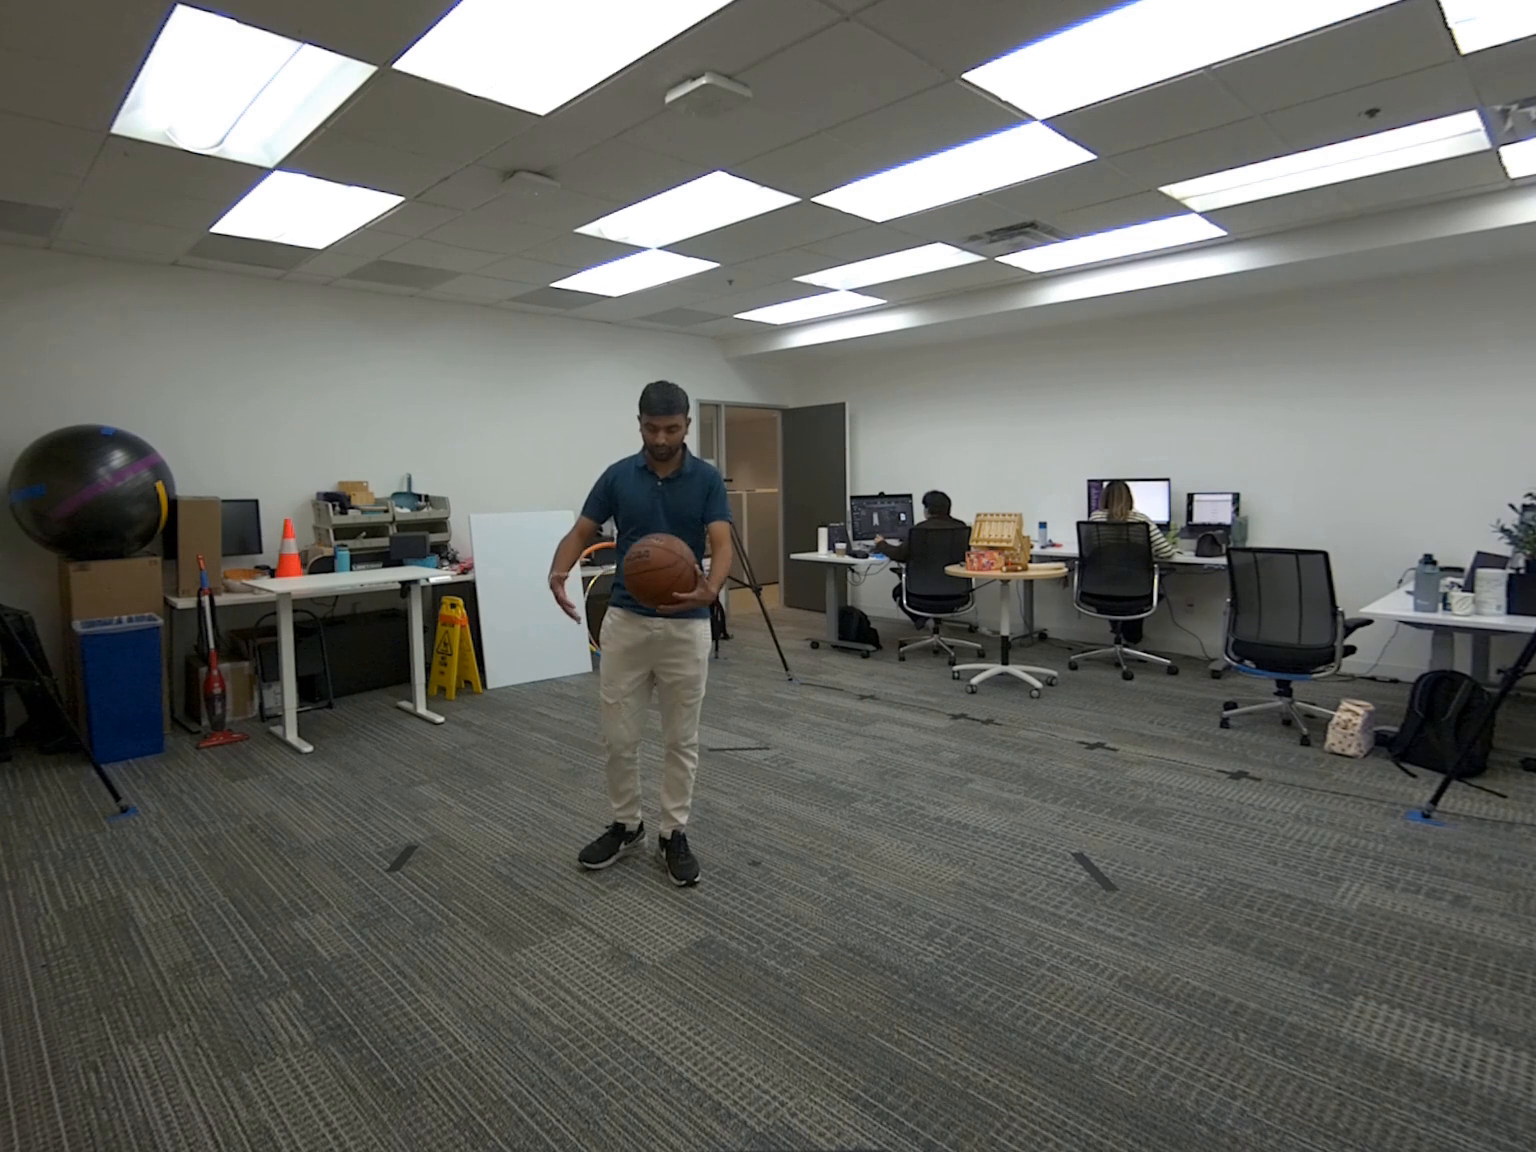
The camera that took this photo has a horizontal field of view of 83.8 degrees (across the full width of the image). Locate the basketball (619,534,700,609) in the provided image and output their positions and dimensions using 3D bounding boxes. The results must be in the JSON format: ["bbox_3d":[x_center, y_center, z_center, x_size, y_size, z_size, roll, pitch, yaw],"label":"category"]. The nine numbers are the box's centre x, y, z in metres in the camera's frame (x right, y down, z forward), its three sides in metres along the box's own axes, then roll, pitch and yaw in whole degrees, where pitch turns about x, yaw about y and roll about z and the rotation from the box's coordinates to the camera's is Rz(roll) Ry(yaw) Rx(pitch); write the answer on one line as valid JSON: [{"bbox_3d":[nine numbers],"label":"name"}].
[{"bbox_3d":[-0.349,-0.015,2.720,0.236,0.235,0.237,-1,5,-2],"label":"basketball"}]
